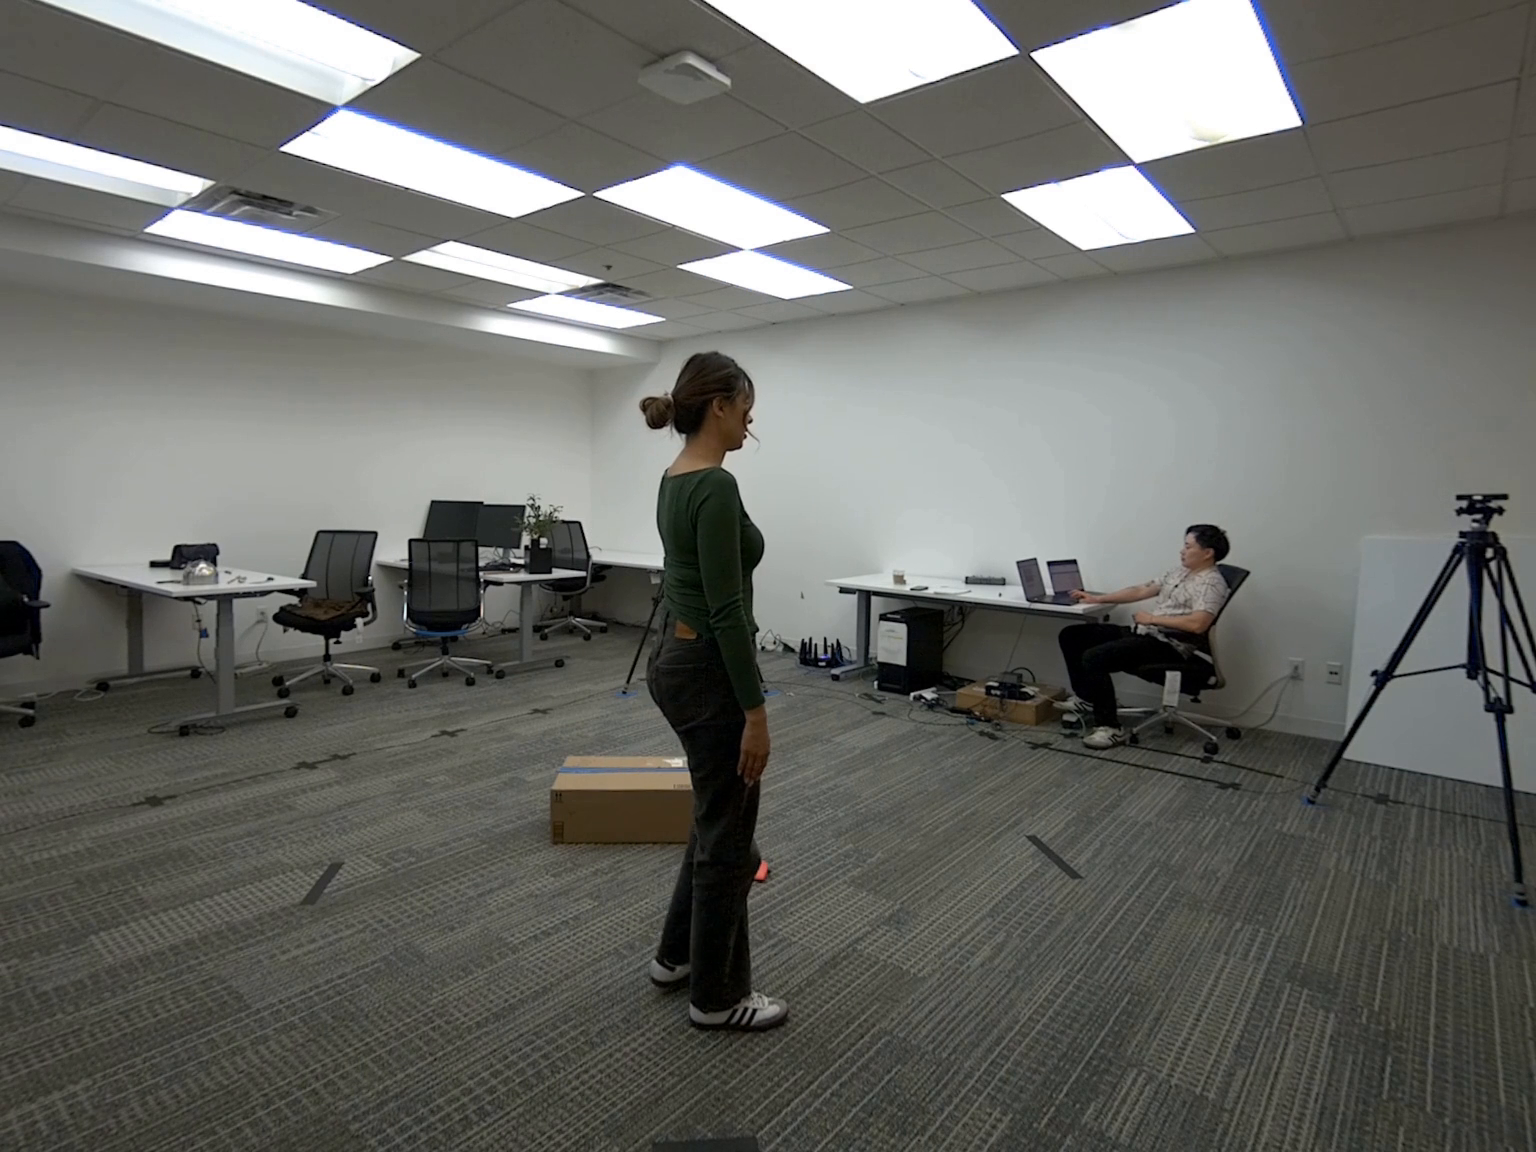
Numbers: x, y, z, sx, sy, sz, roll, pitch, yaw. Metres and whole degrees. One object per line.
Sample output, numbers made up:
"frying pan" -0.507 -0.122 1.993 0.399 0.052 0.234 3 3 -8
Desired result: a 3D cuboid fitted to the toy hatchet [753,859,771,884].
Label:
"toy hatchet" -0.130 1.061 3.036 0.266 0.029 0.134 -4 11 -15
